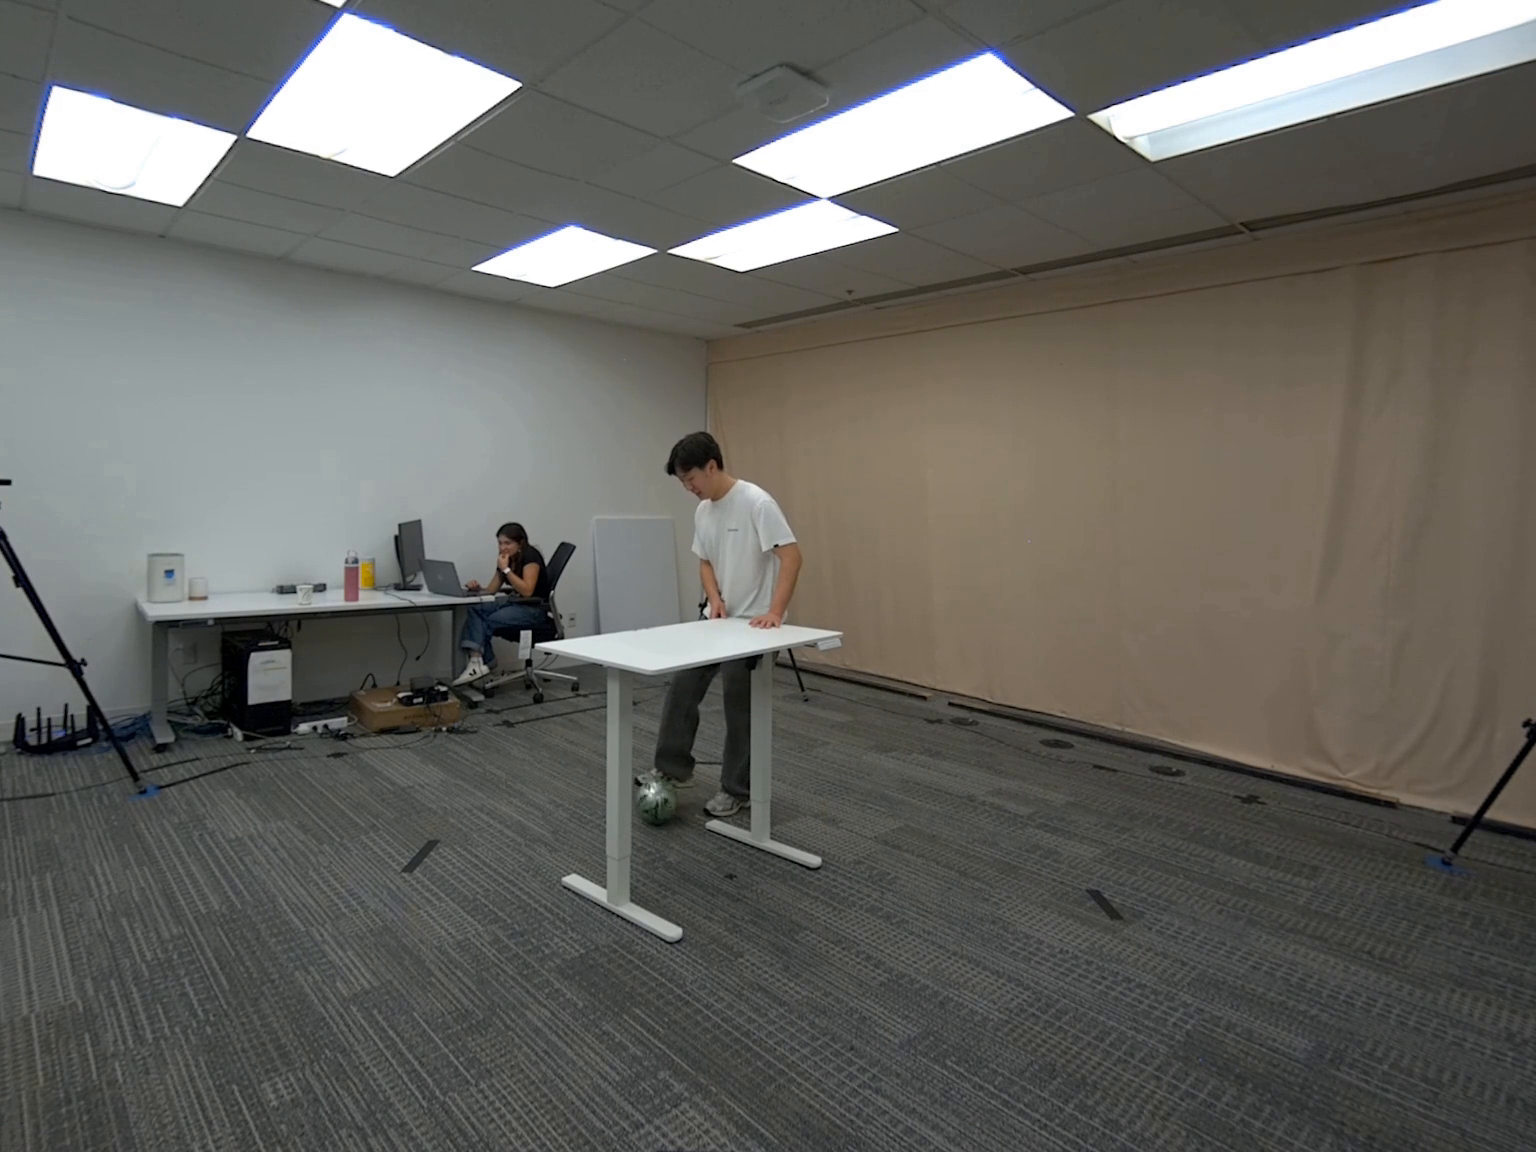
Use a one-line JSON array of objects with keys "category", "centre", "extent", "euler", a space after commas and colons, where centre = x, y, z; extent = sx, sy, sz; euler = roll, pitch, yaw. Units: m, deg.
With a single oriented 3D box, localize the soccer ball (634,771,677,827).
[{"category": "soccer ball", "centre": [-0.486, 0.972, 3.598], "extent": [0.187, 0.187, 0.188], "euler": [1, 4, -1]}]
